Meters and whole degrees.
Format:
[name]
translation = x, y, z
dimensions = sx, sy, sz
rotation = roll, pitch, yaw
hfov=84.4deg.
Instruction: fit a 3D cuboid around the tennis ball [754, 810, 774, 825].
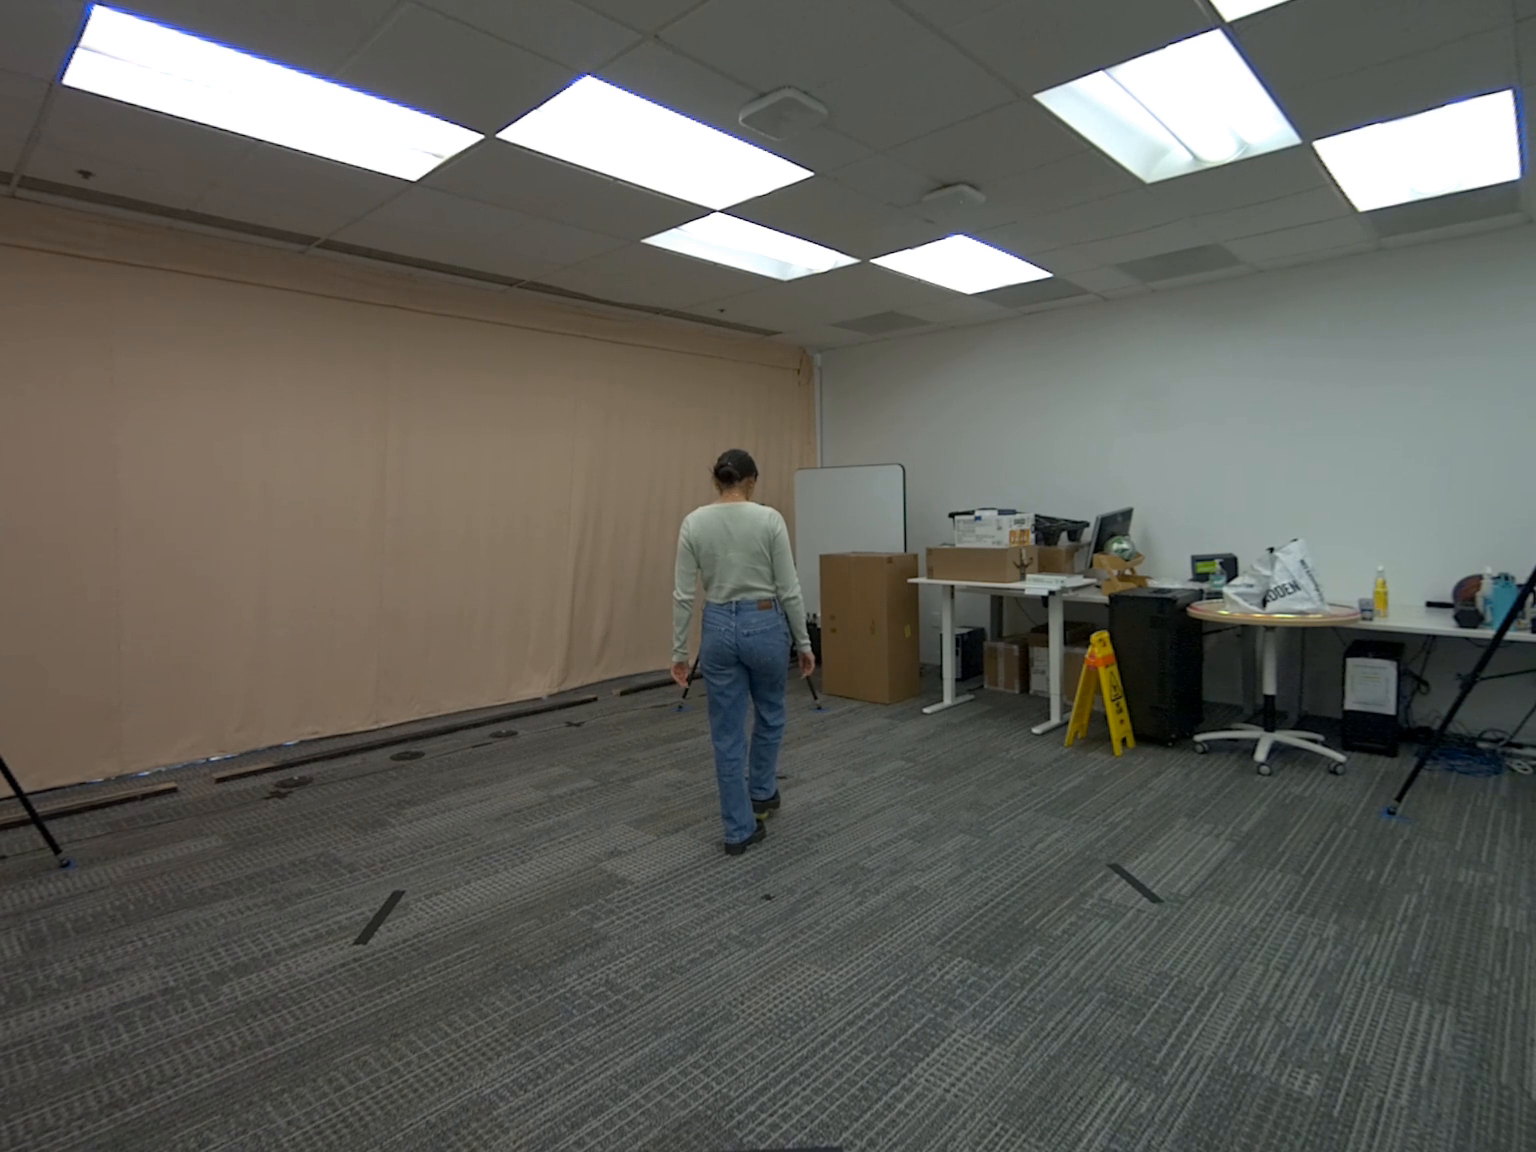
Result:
[tennis ball]
translation = -0.017, 1.035, 3.770
dimensions = 0.066, 0.066, 0.067
rotation = -1, 4, -2
